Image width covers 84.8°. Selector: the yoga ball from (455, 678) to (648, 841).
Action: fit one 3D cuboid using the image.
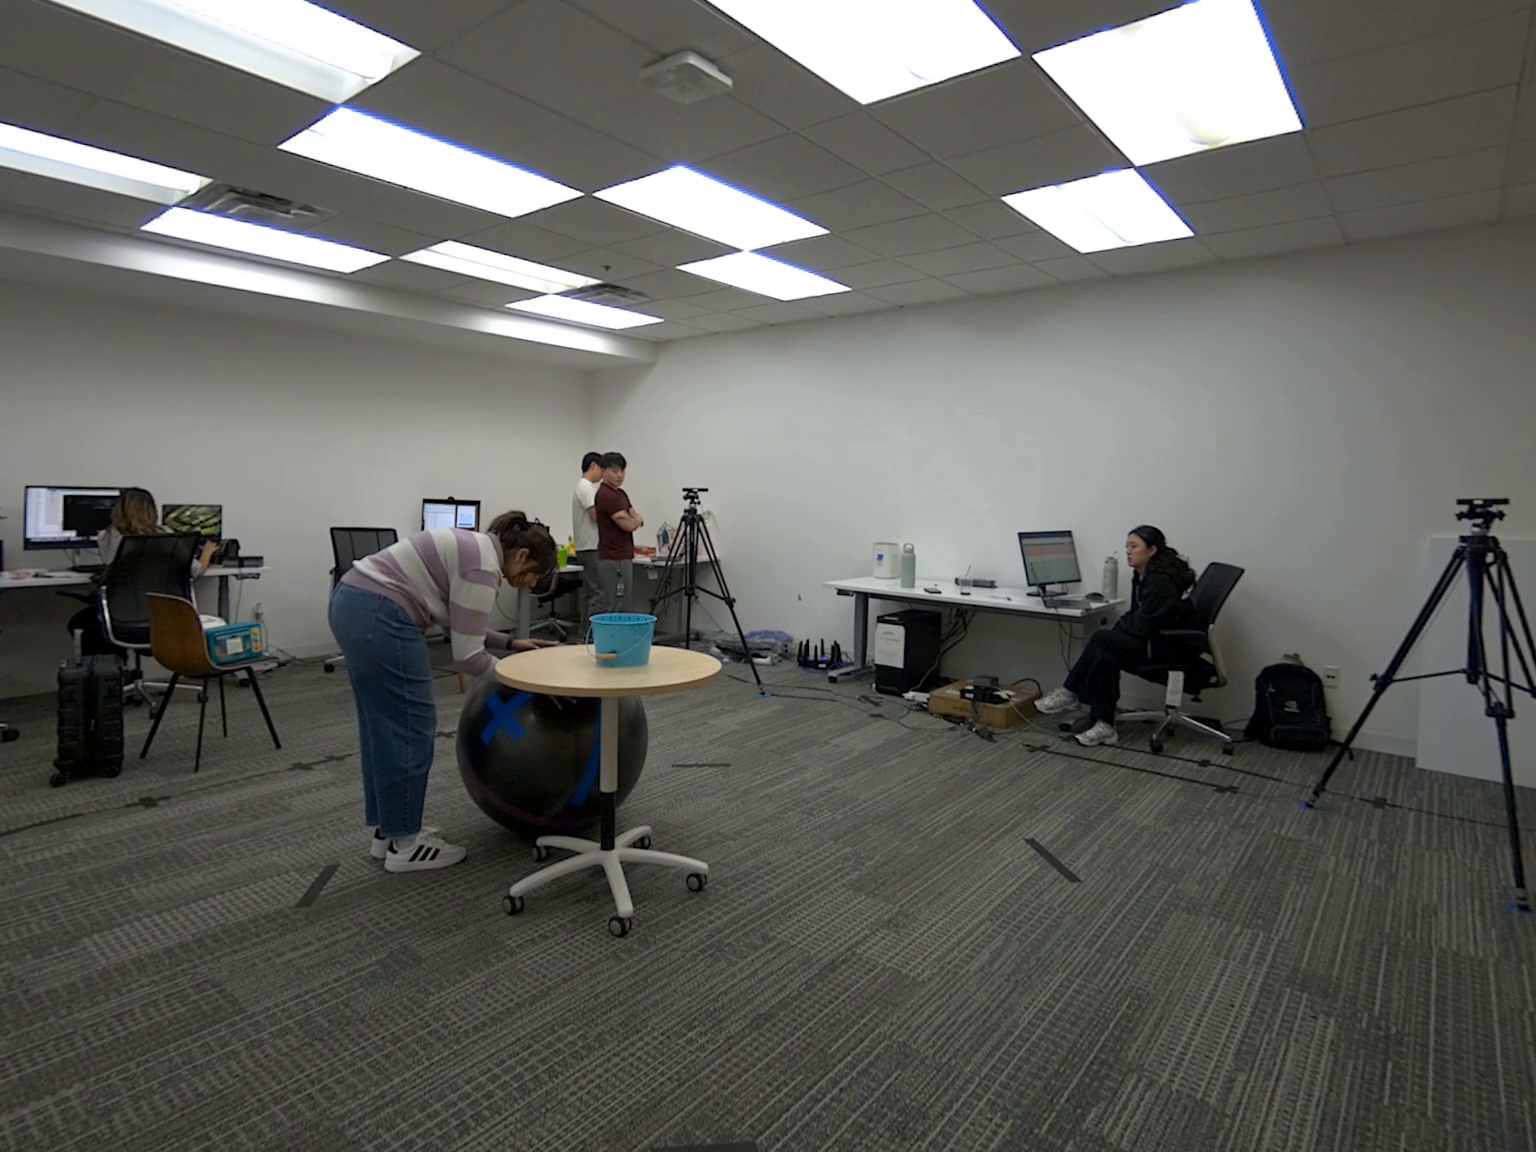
[{"bbox_3d":[-0.878,0.659,3.453,0.757,0.755,0.762,1,4,-2],"label":"yoga ball"}]
